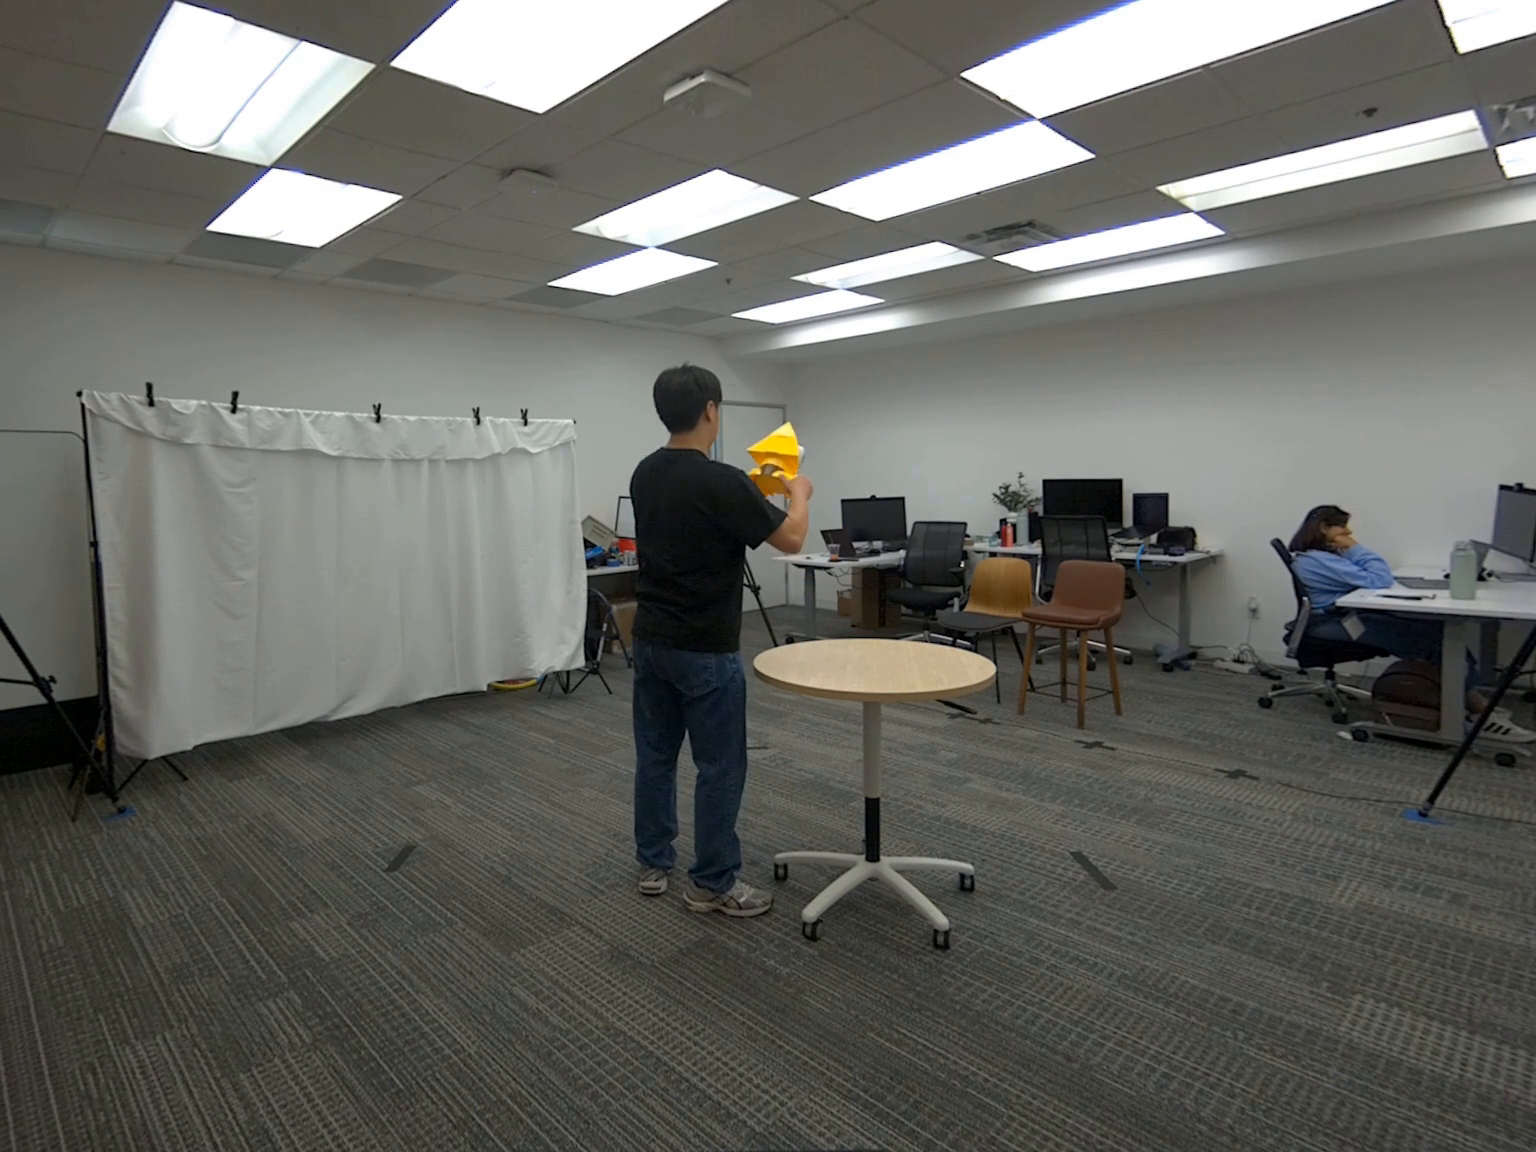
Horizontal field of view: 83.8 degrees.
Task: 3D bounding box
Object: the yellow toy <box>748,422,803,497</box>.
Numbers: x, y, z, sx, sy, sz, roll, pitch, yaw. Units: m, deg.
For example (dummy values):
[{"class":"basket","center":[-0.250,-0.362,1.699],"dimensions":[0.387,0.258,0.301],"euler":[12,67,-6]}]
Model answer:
[{"class":"yellow toy","center":[0.061,-0.418,3.040],"dimensions":[0.211,0.233,0.186],"euler":[11,-24,30]}]
